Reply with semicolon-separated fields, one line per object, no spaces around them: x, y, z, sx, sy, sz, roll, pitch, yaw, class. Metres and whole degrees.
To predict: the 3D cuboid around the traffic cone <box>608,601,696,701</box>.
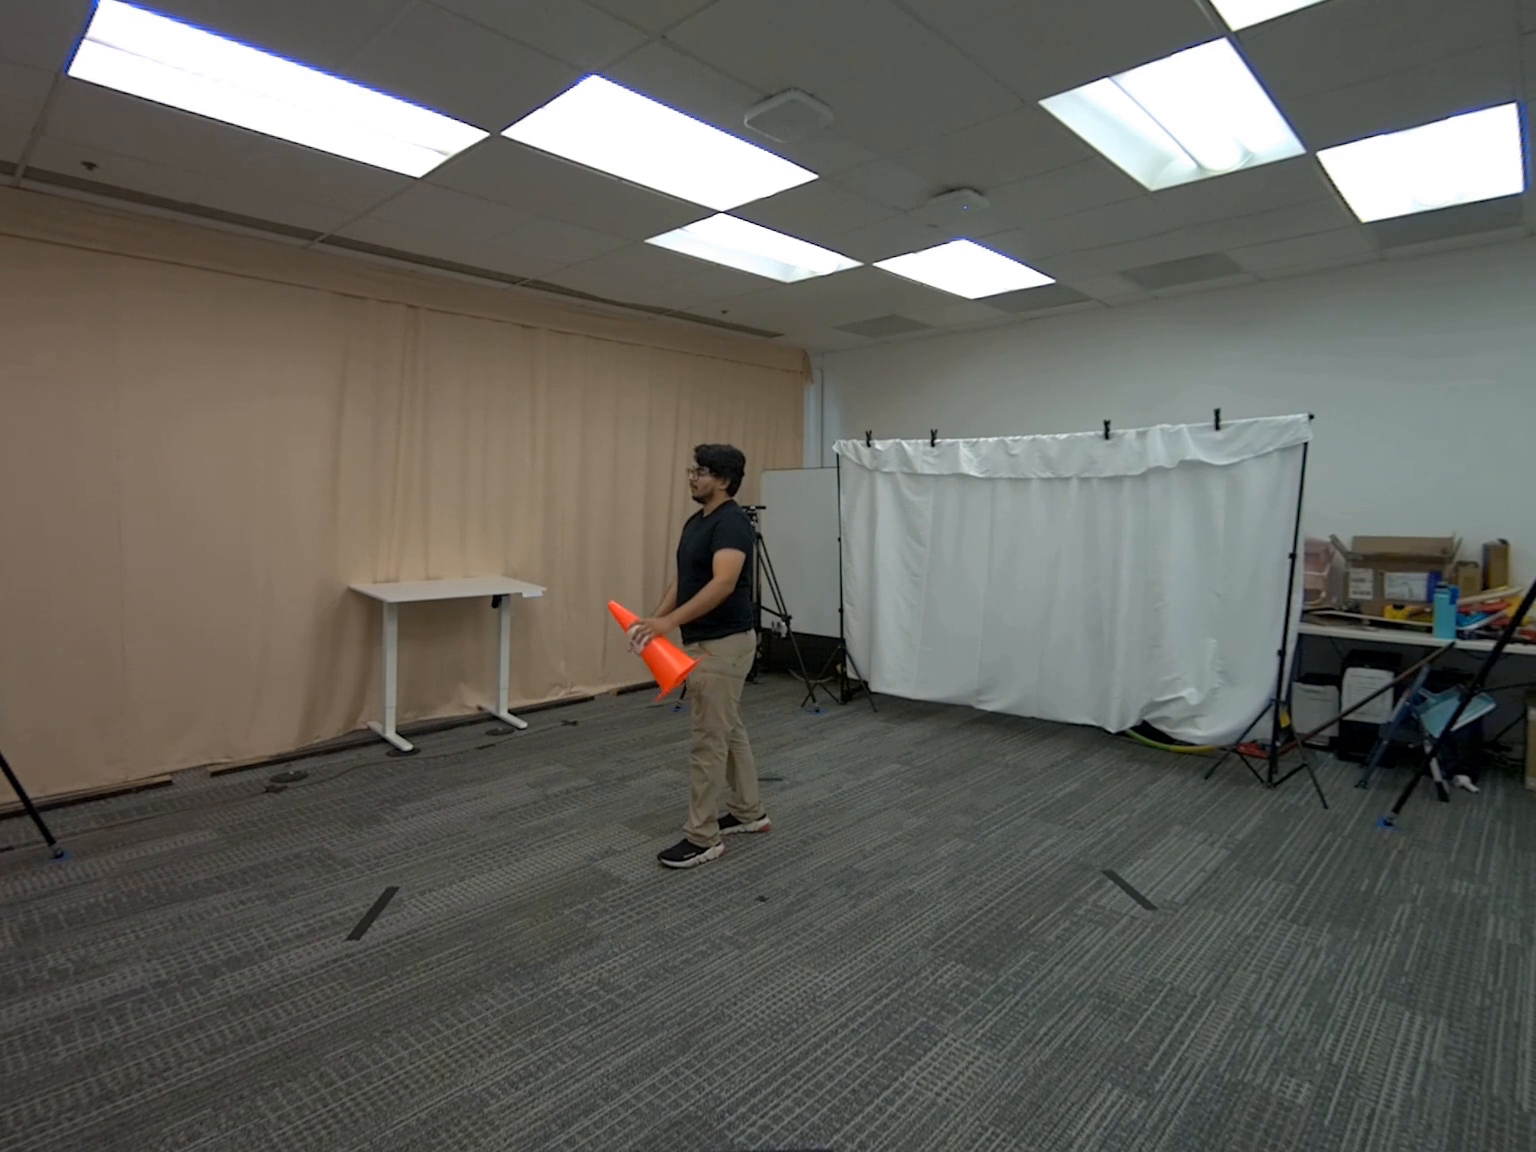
-0.440;0.238;3.085;0.204;0.387;0.202;-50;-8;36;traffic cone
